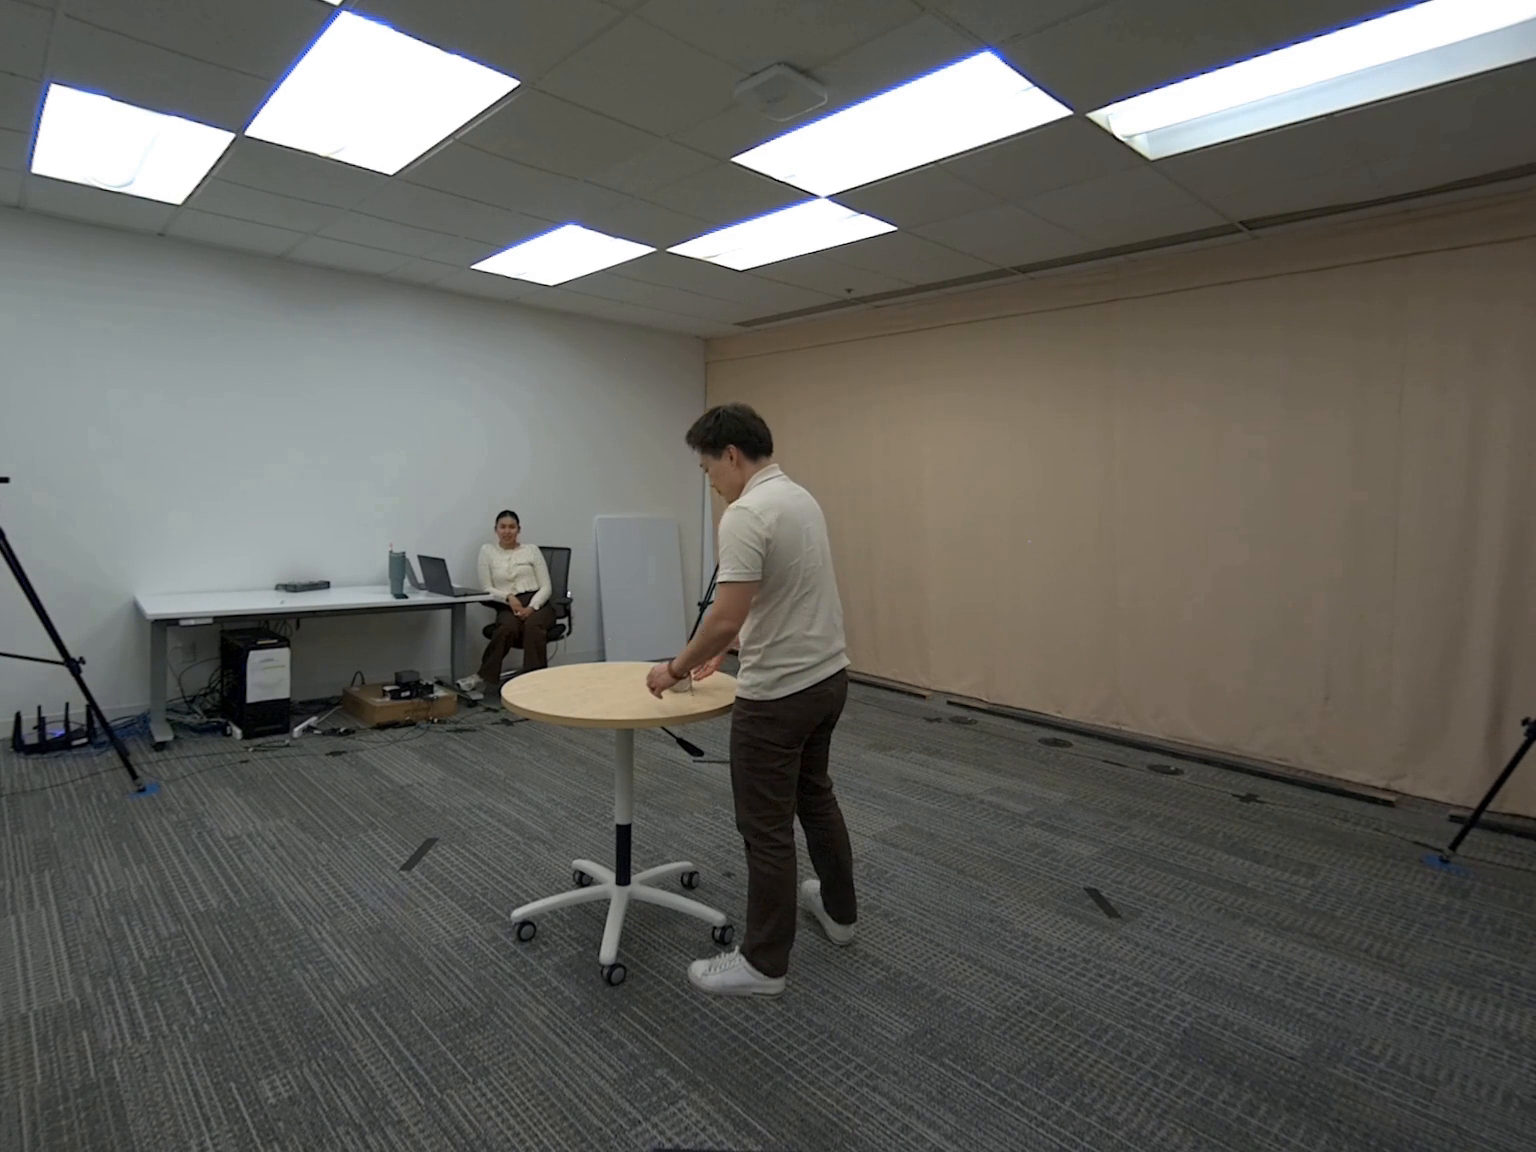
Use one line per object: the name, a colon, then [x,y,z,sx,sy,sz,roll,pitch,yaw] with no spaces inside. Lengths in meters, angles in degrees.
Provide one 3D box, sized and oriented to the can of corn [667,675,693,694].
can of corn: [-0.291,0.321,2.663,0.073,0.074,0.112,0,4,-16]
